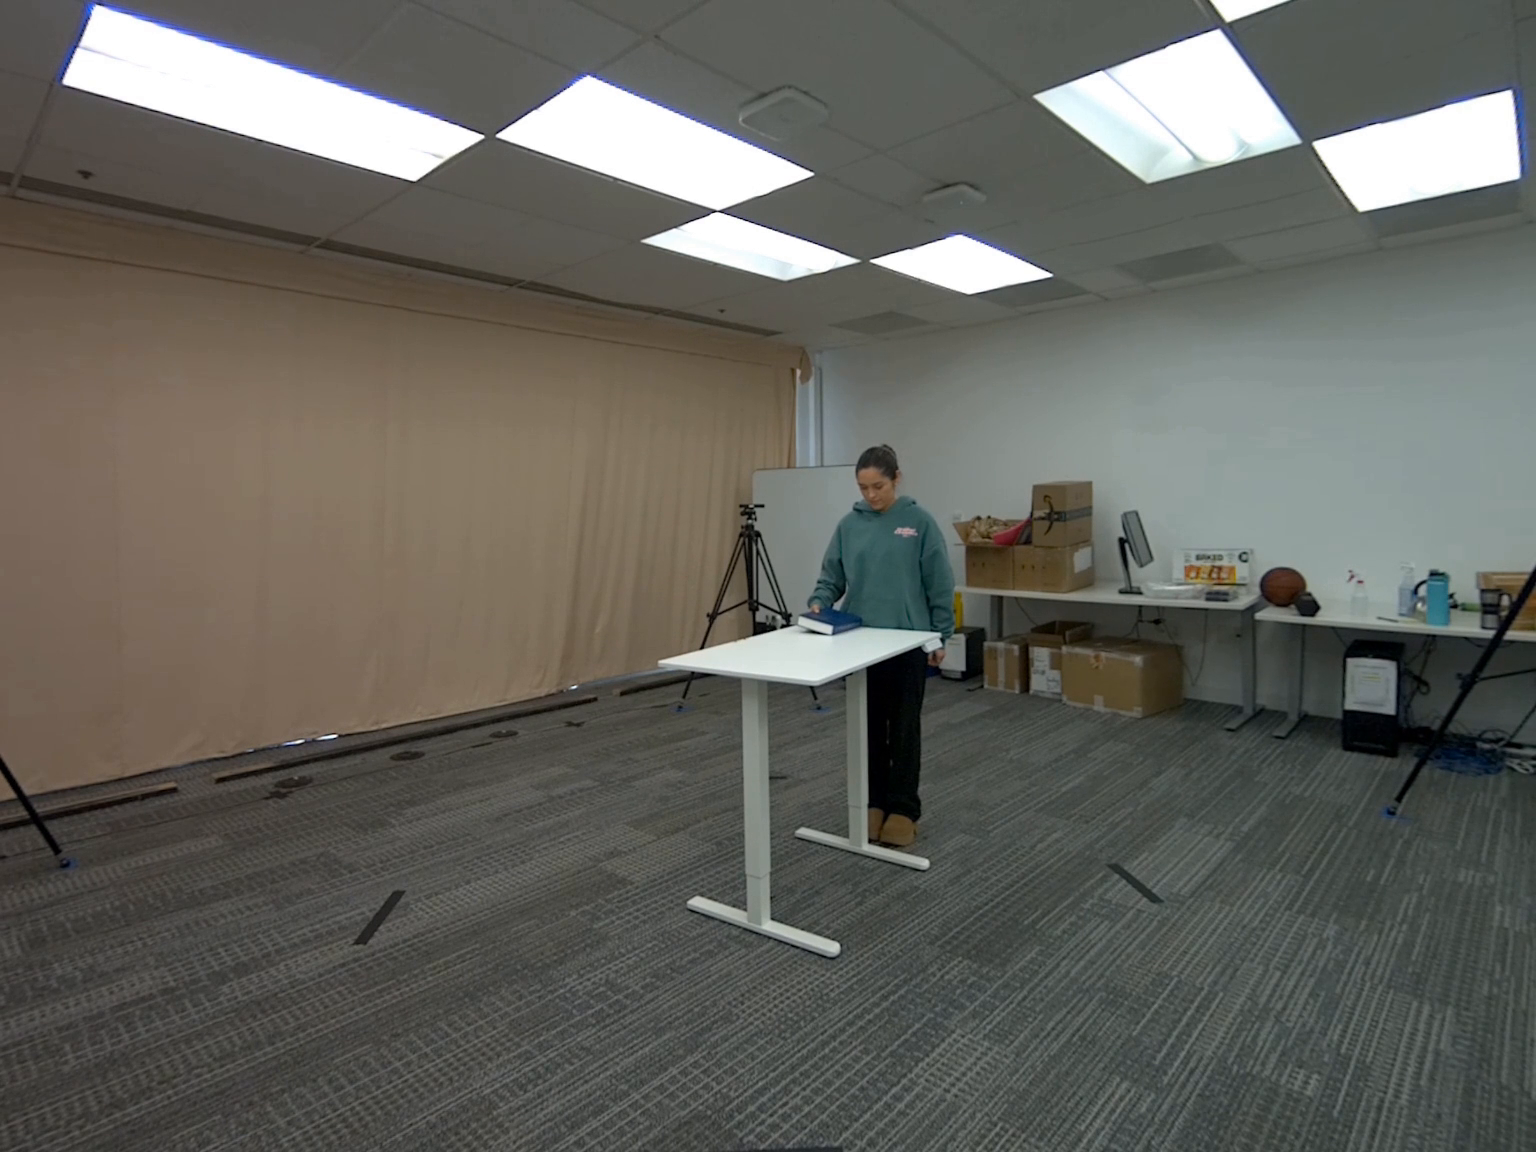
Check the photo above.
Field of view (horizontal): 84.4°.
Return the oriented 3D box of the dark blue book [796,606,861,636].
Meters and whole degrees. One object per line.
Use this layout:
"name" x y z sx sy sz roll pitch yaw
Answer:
"dark blue book" 0.258 0.186 3.377 0.169 0.045 0.238 15 13 33
